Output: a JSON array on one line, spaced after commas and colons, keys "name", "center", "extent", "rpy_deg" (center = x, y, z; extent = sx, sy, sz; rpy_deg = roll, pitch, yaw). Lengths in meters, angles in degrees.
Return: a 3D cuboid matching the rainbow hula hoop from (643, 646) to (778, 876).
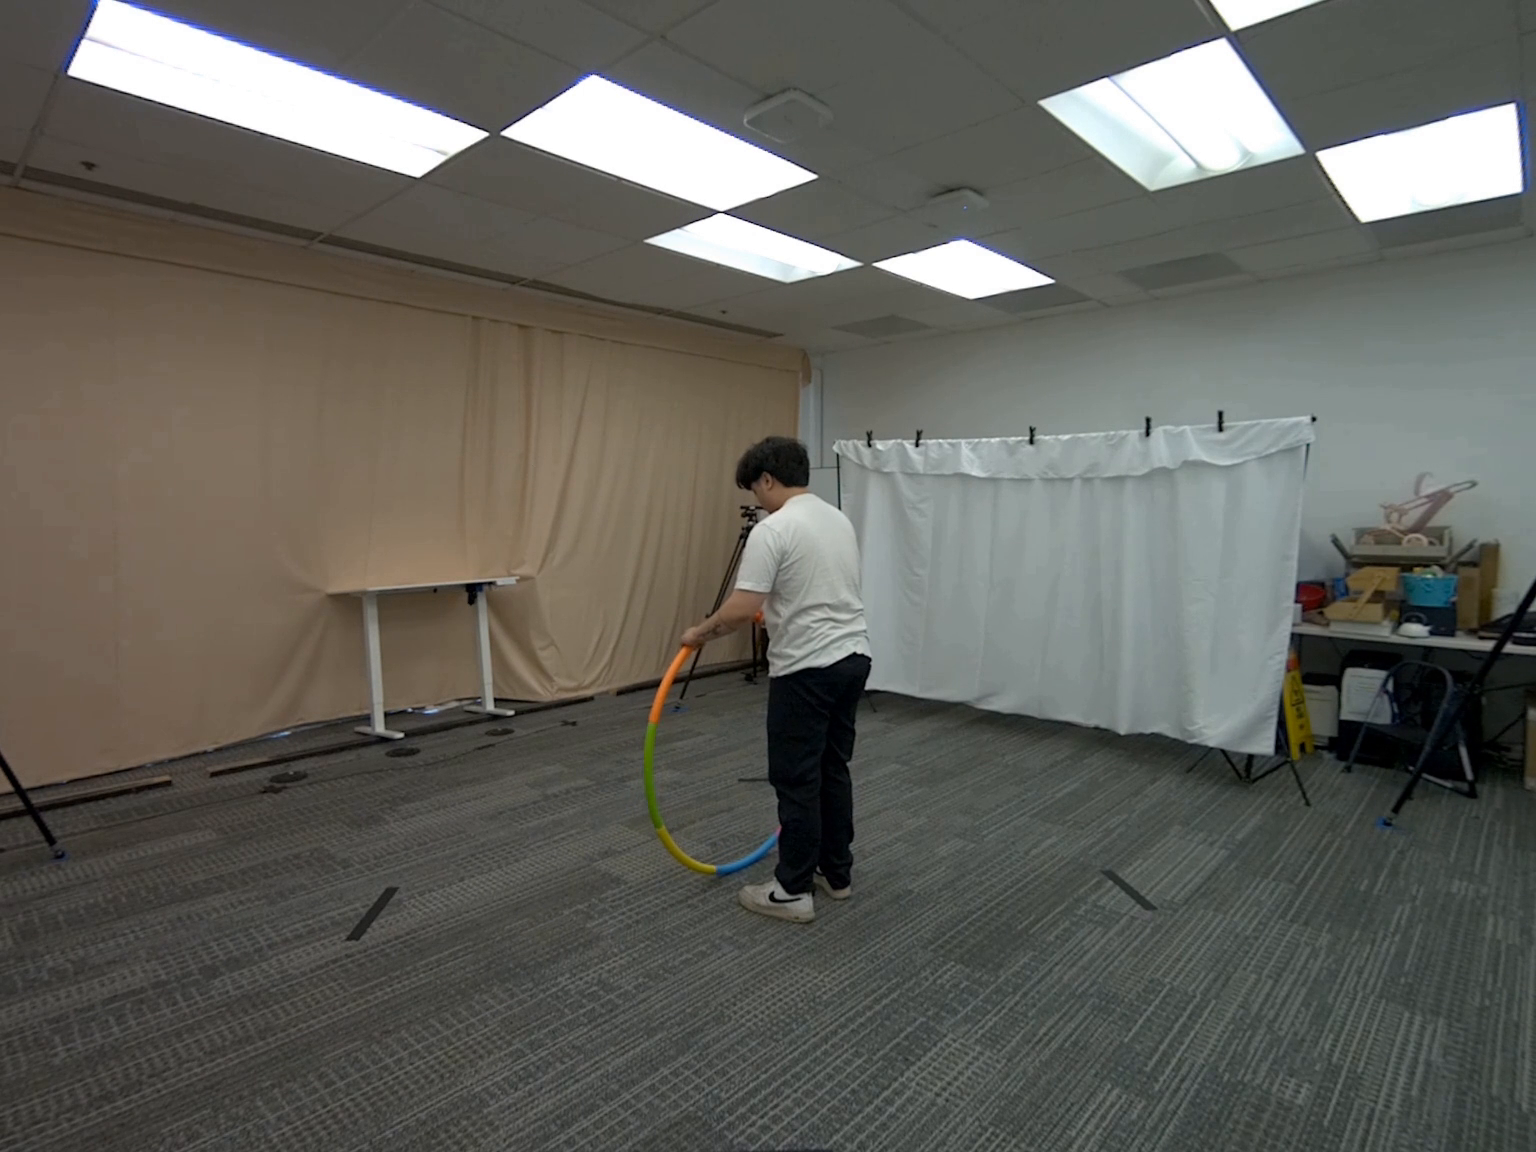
[{"name": "rainbow hula hoop", "center": [-0.103, 0.631, 3.213], "extent": [0.053, 0.983, 0.955], "rpy_deg": [3, 5, 43]}]
